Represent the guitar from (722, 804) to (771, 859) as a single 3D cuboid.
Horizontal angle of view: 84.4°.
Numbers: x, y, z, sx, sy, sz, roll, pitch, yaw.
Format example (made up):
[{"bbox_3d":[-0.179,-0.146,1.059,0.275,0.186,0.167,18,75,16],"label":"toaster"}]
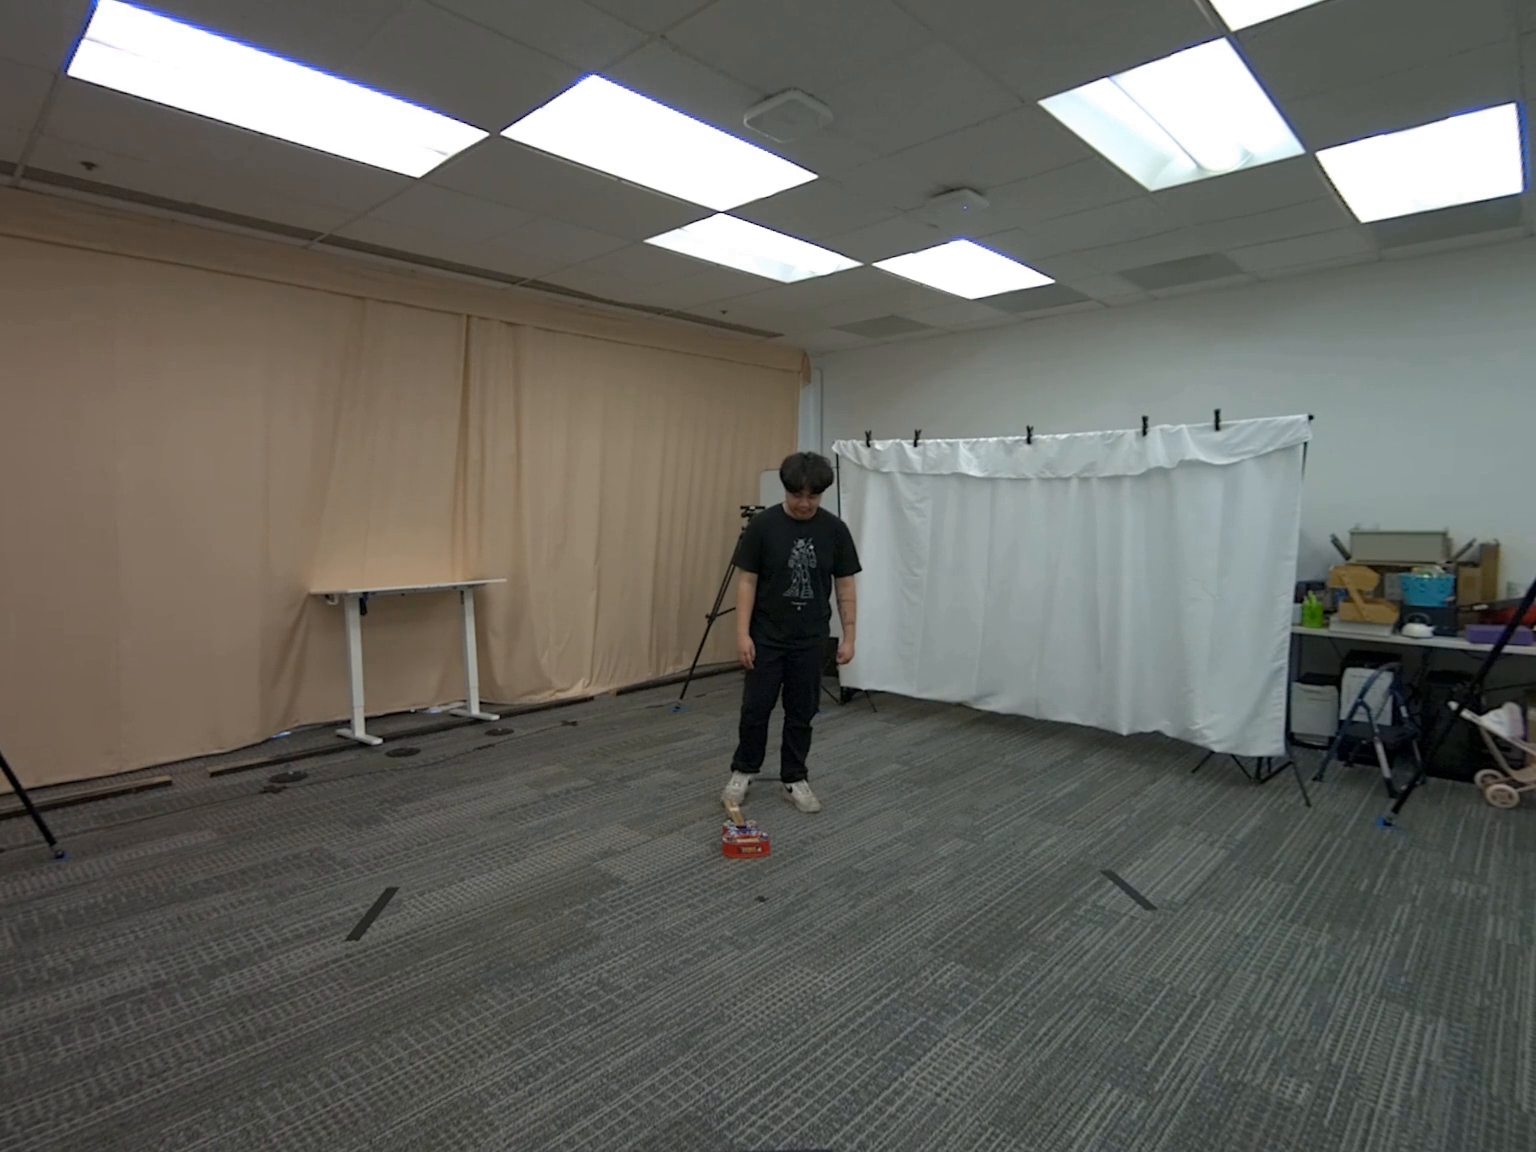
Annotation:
[{"bbox_3d":[-0.098,1.057,3.571,0.193,0.070,0.500,-1,5,-3],"label":"guitar"}]
